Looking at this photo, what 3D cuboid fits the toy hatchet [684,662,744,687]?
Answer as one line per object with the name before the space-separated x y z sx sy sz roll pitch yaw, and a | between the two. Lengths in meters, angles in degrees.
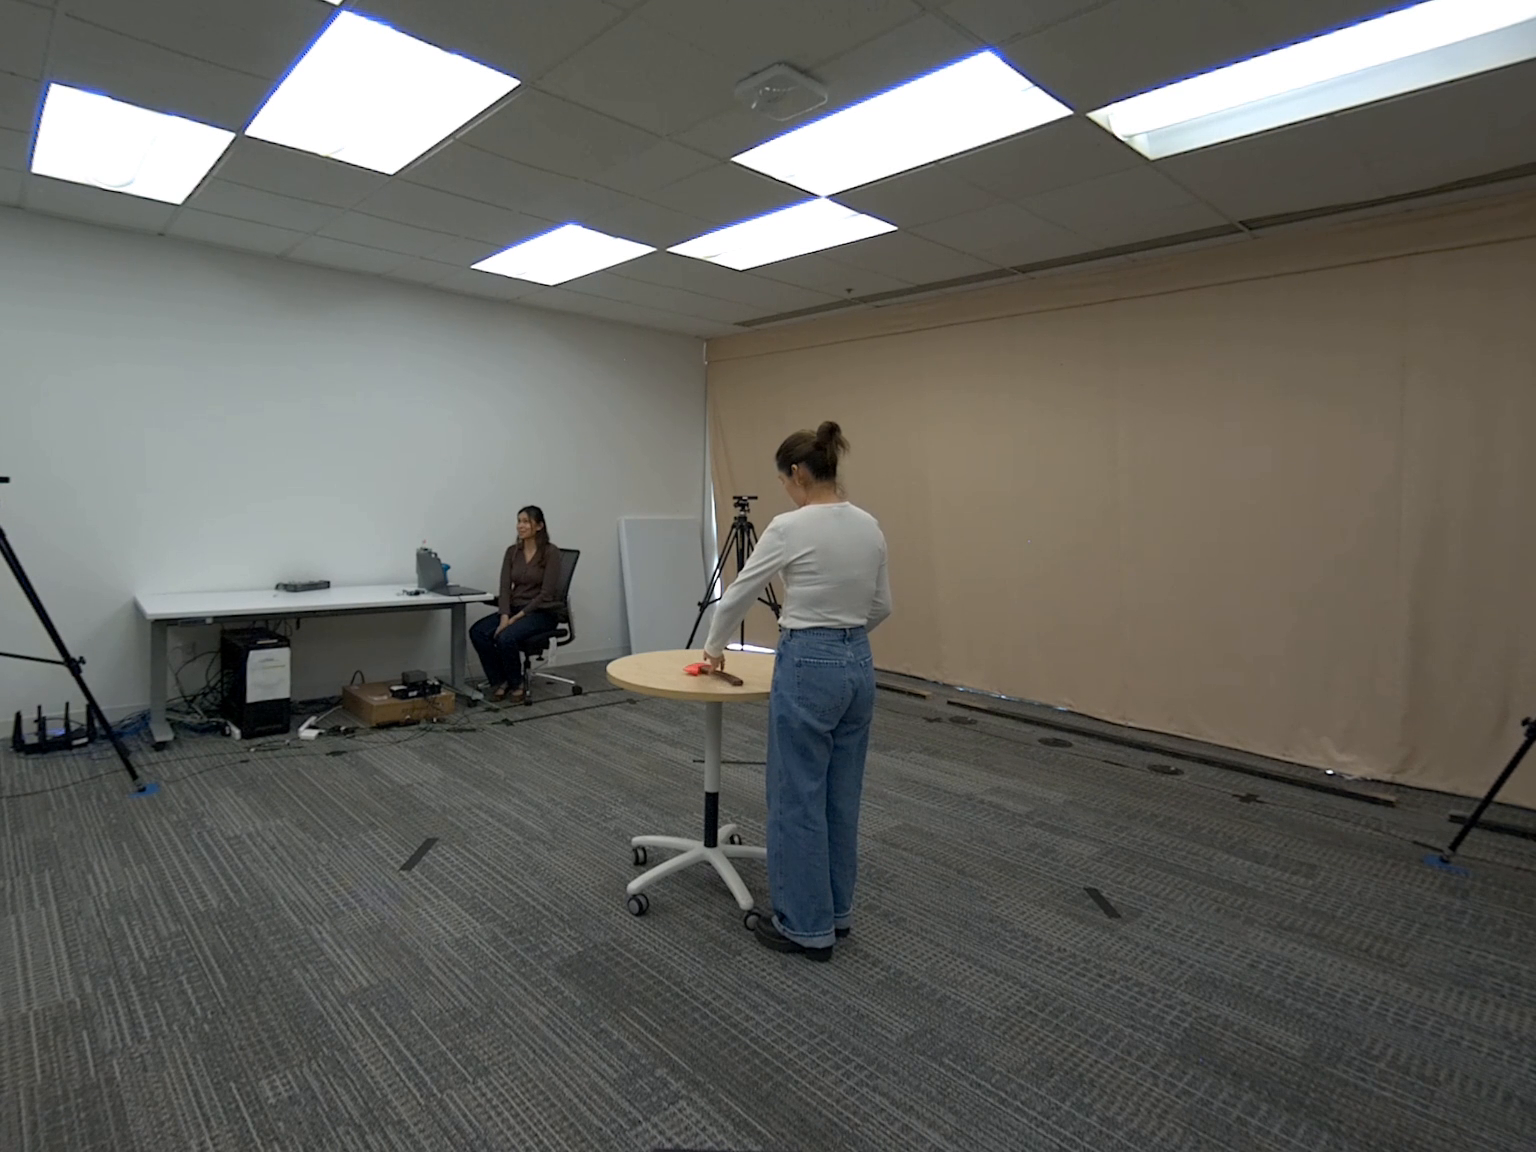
toy hatchet | -0.199 0.331 2.810 0.128 0.029 0.276 2 5 -25
